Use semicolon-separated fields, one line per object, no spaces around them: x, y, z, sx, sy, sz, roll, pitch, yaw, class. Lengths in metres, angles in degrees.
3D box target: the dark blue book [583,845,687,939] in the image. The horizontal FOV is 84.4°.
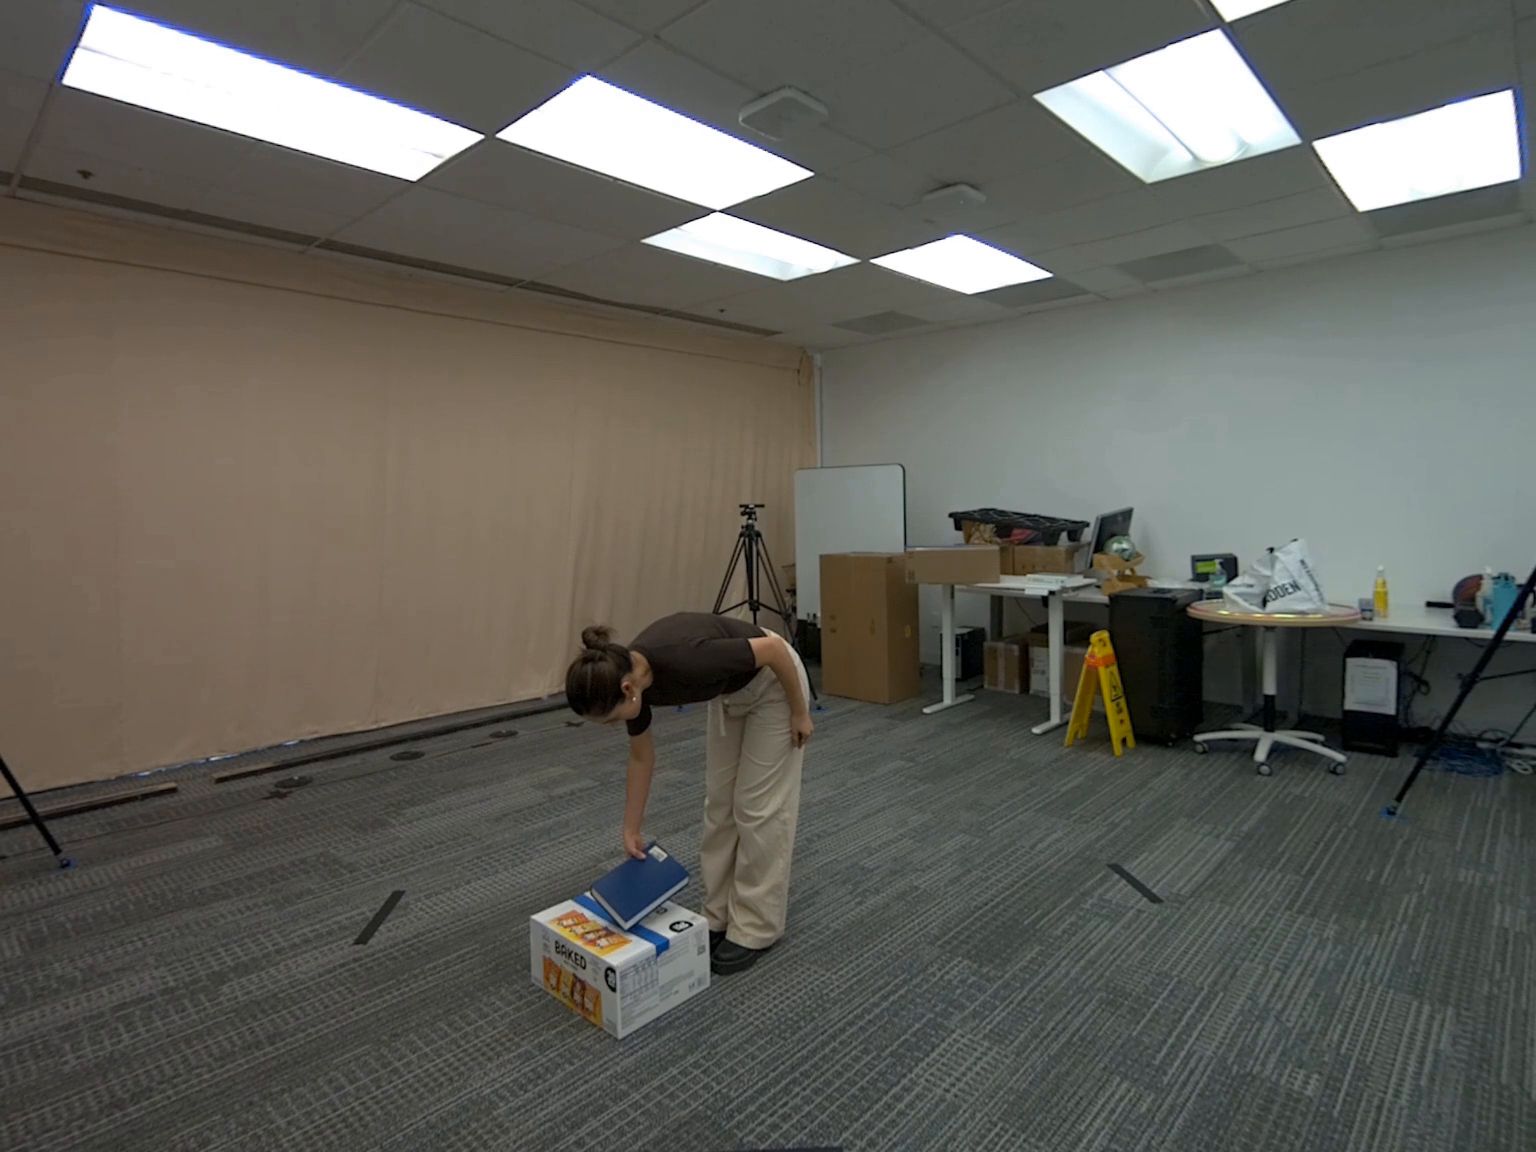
-0.382;0.900;2.433;0.239;0.044;0.169;-22;40;-40;dark blue book
